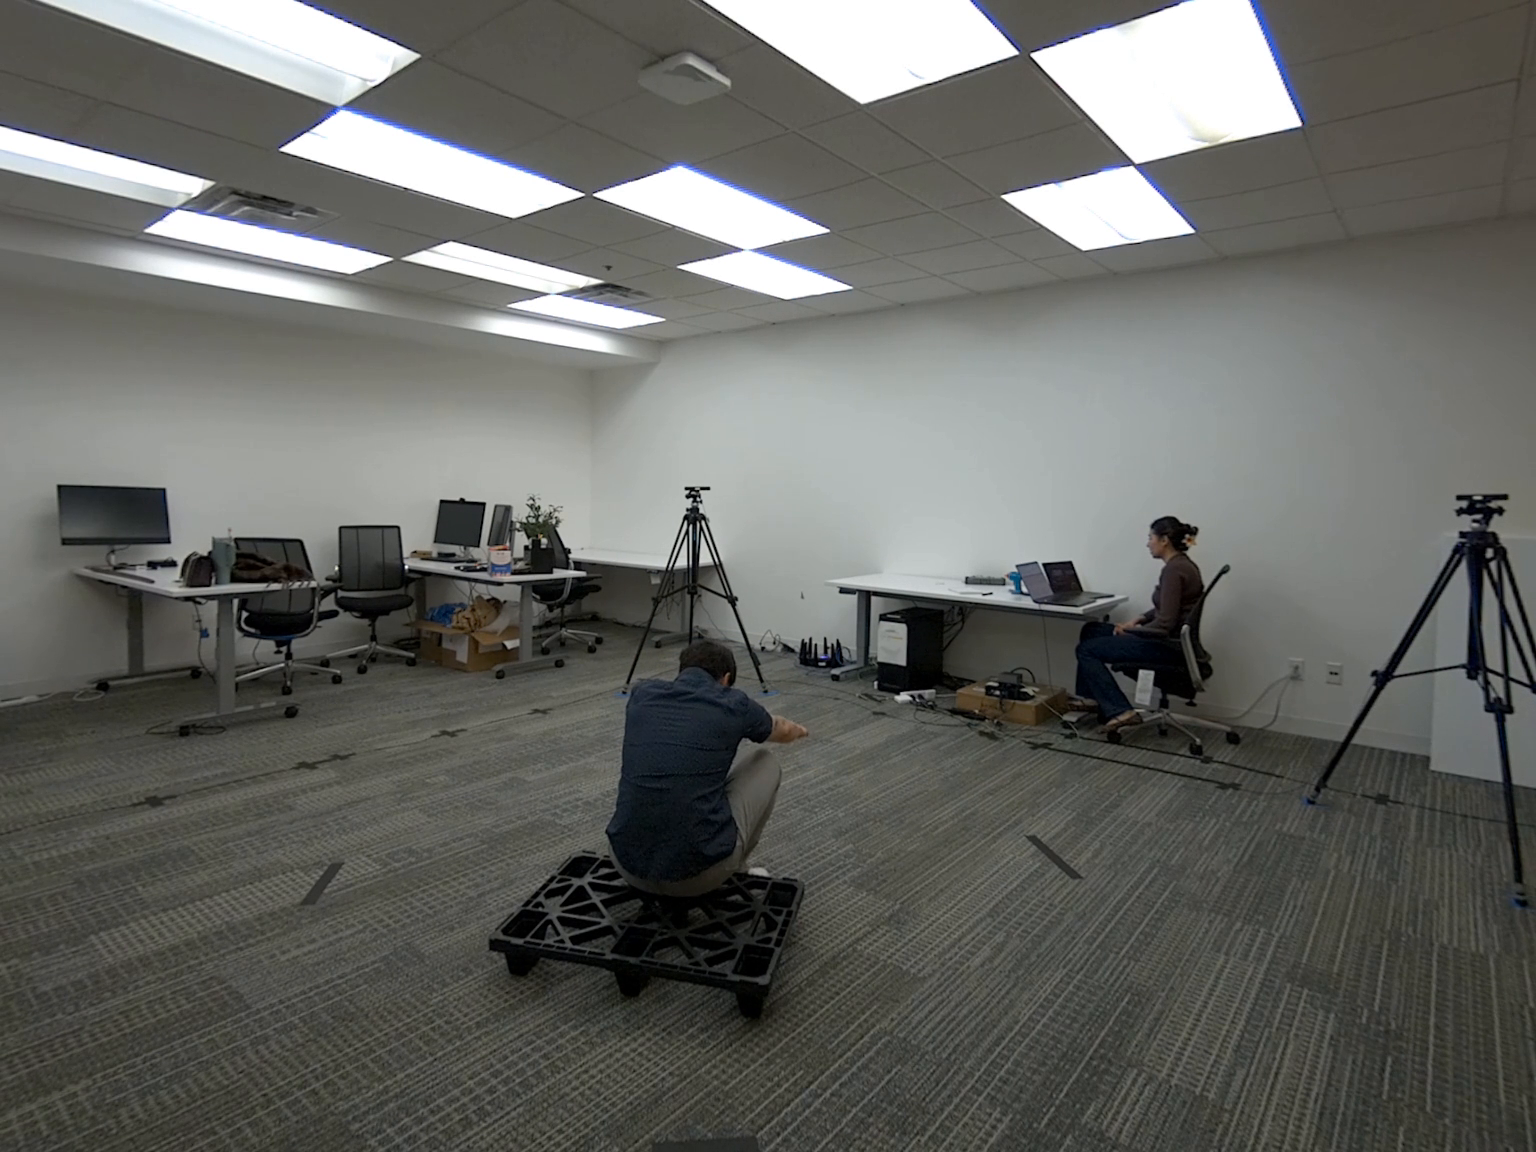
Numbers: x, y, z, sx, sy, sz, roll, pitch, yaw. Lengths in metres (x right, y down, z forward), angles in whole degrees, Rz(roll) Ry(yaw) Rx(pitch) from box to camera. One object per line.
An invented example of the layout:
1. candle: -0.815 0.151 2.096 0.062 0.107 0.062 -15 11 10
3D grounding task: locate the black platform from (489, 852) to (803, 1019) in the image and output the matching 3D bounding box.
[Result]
1. black platform: -0.344 1.054 2.547 0.818 0.143 0.598 2 5 14
